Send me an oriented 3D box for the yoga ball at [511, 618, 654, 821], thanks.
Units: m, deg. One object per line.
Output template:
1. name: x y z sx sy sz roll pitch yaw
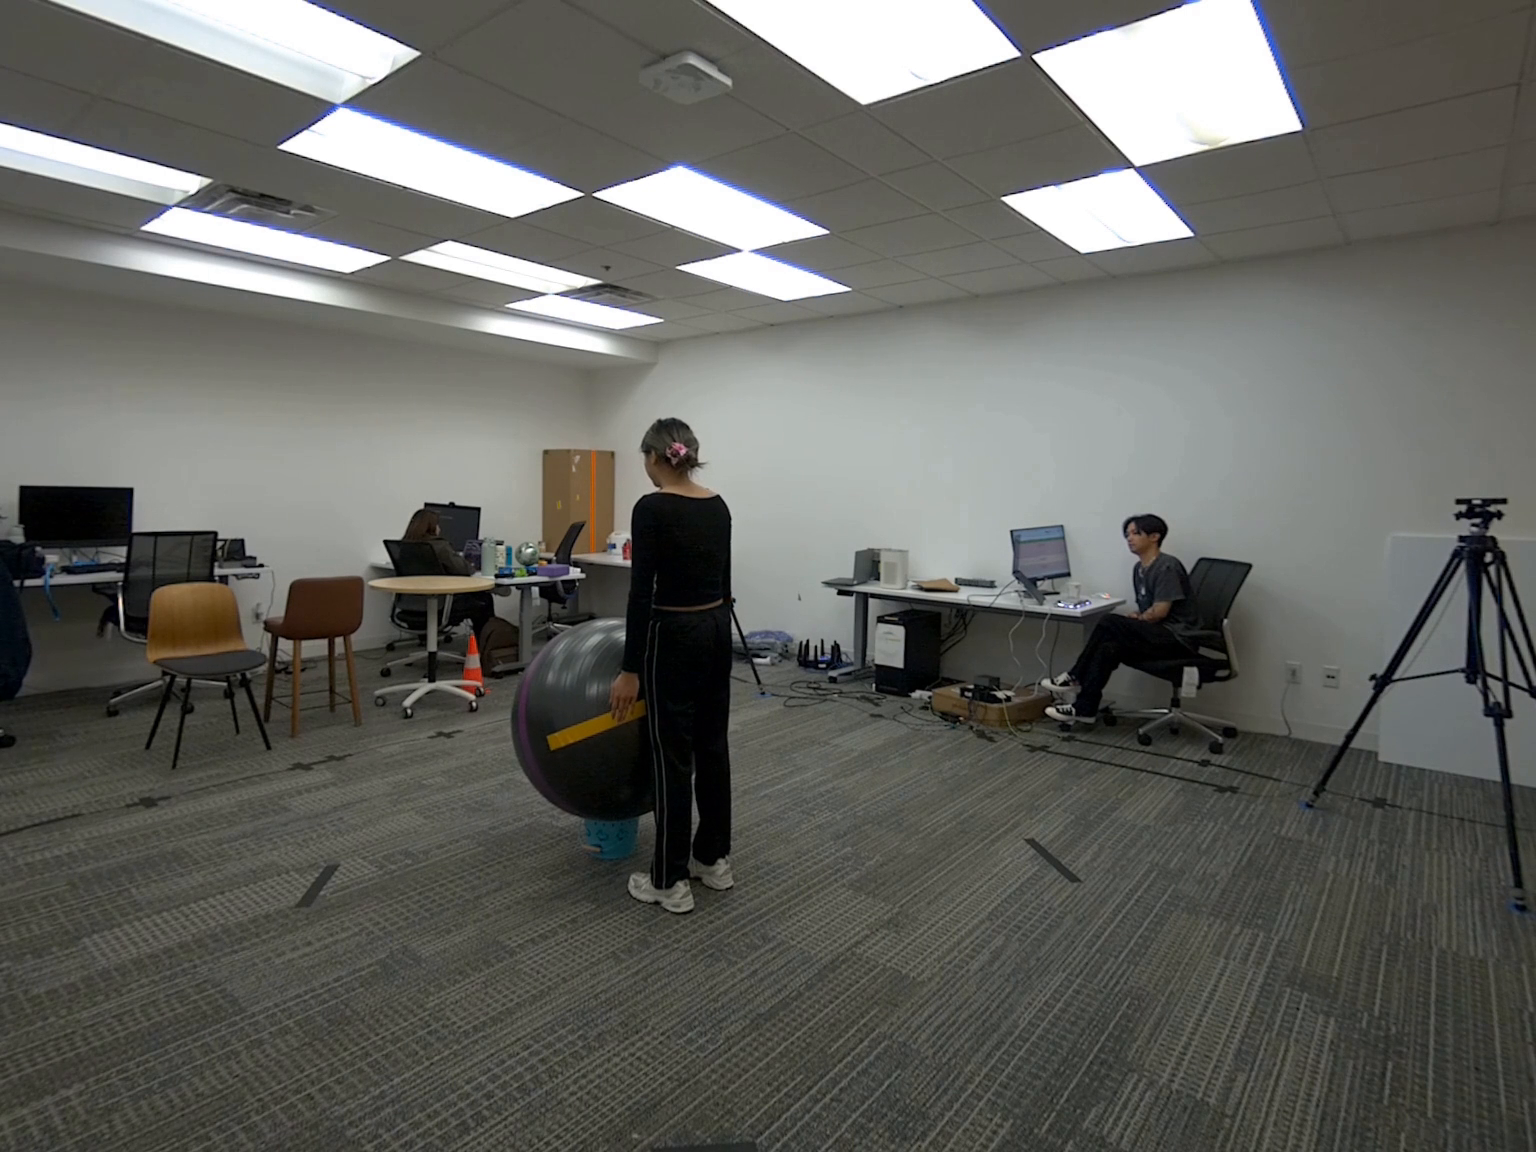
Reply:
1. yoga ball: -0.607 0.545 3.246 0.757 0.755 0.762 1 4 -2
